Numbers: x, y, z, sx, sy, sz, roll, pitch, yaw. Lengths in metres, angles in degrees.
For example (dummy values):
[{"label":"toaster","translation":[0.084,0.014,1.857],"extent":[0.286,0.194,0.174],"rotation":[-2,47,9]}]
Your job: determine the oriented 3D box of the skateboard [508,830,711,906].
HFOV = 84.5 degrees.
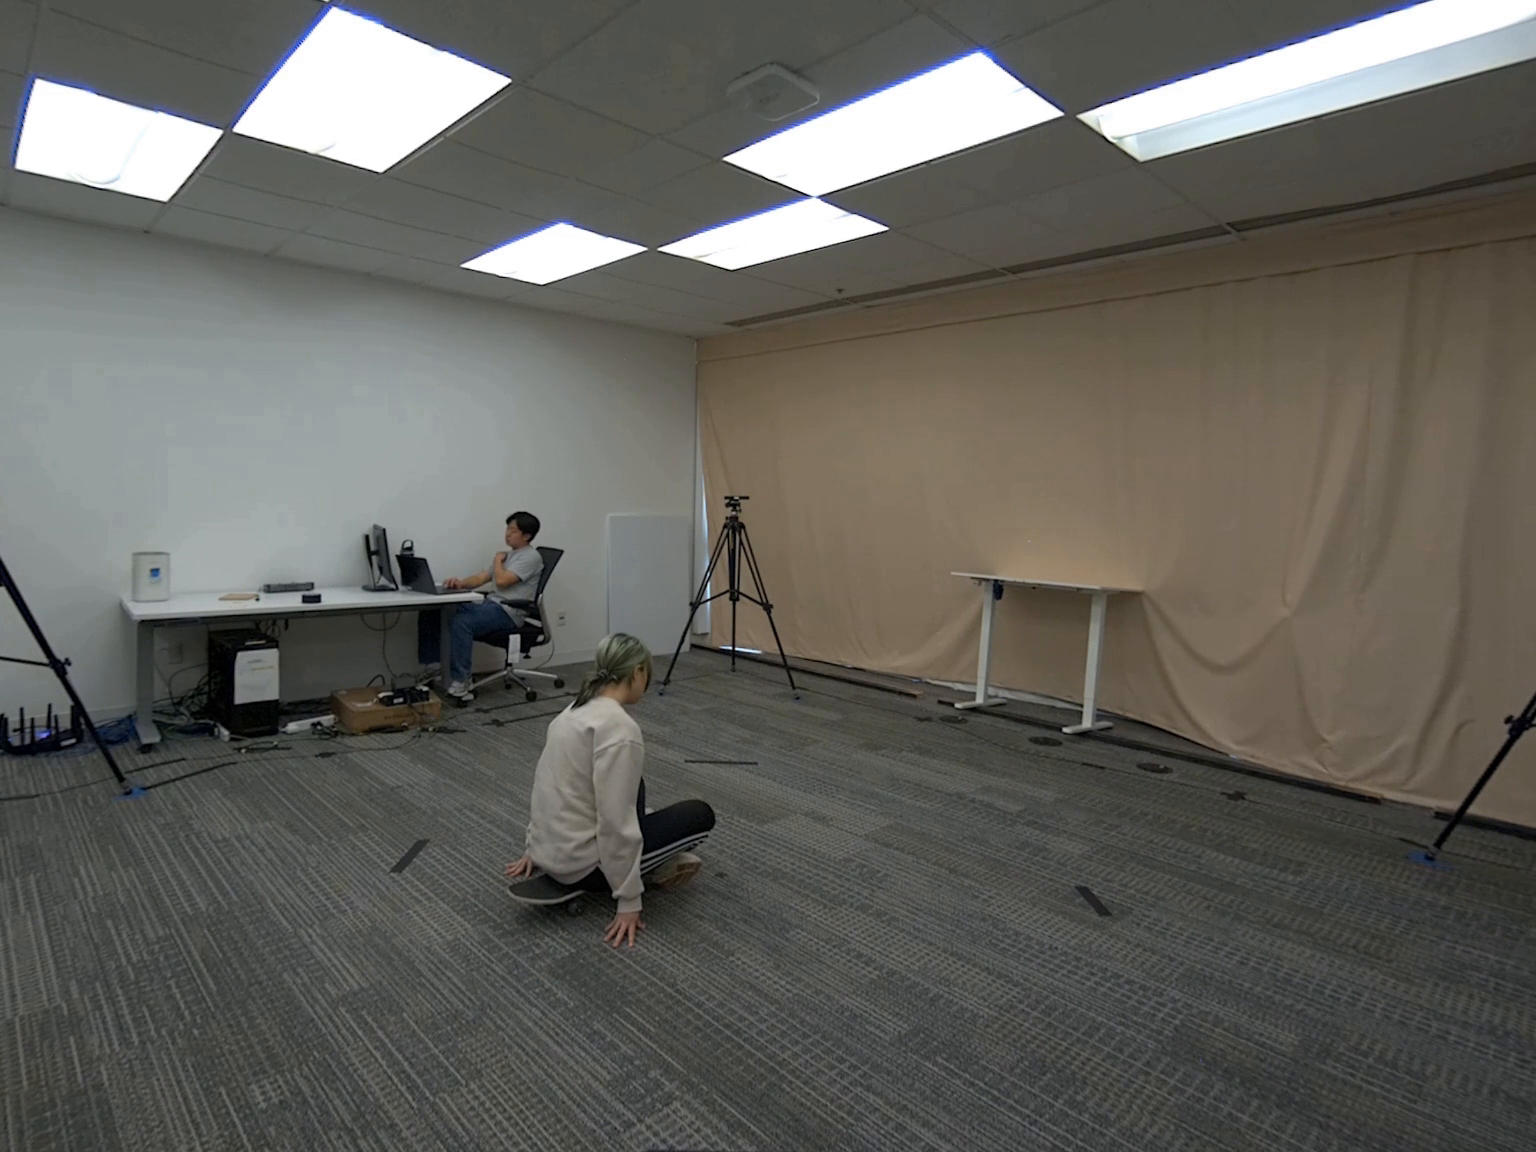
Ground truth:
[{"label":"skateboard","translation":[-0.574,1.047,2.992],"extent":[0.198,0.110,0.769],"rotation":[0,4,40]}]
